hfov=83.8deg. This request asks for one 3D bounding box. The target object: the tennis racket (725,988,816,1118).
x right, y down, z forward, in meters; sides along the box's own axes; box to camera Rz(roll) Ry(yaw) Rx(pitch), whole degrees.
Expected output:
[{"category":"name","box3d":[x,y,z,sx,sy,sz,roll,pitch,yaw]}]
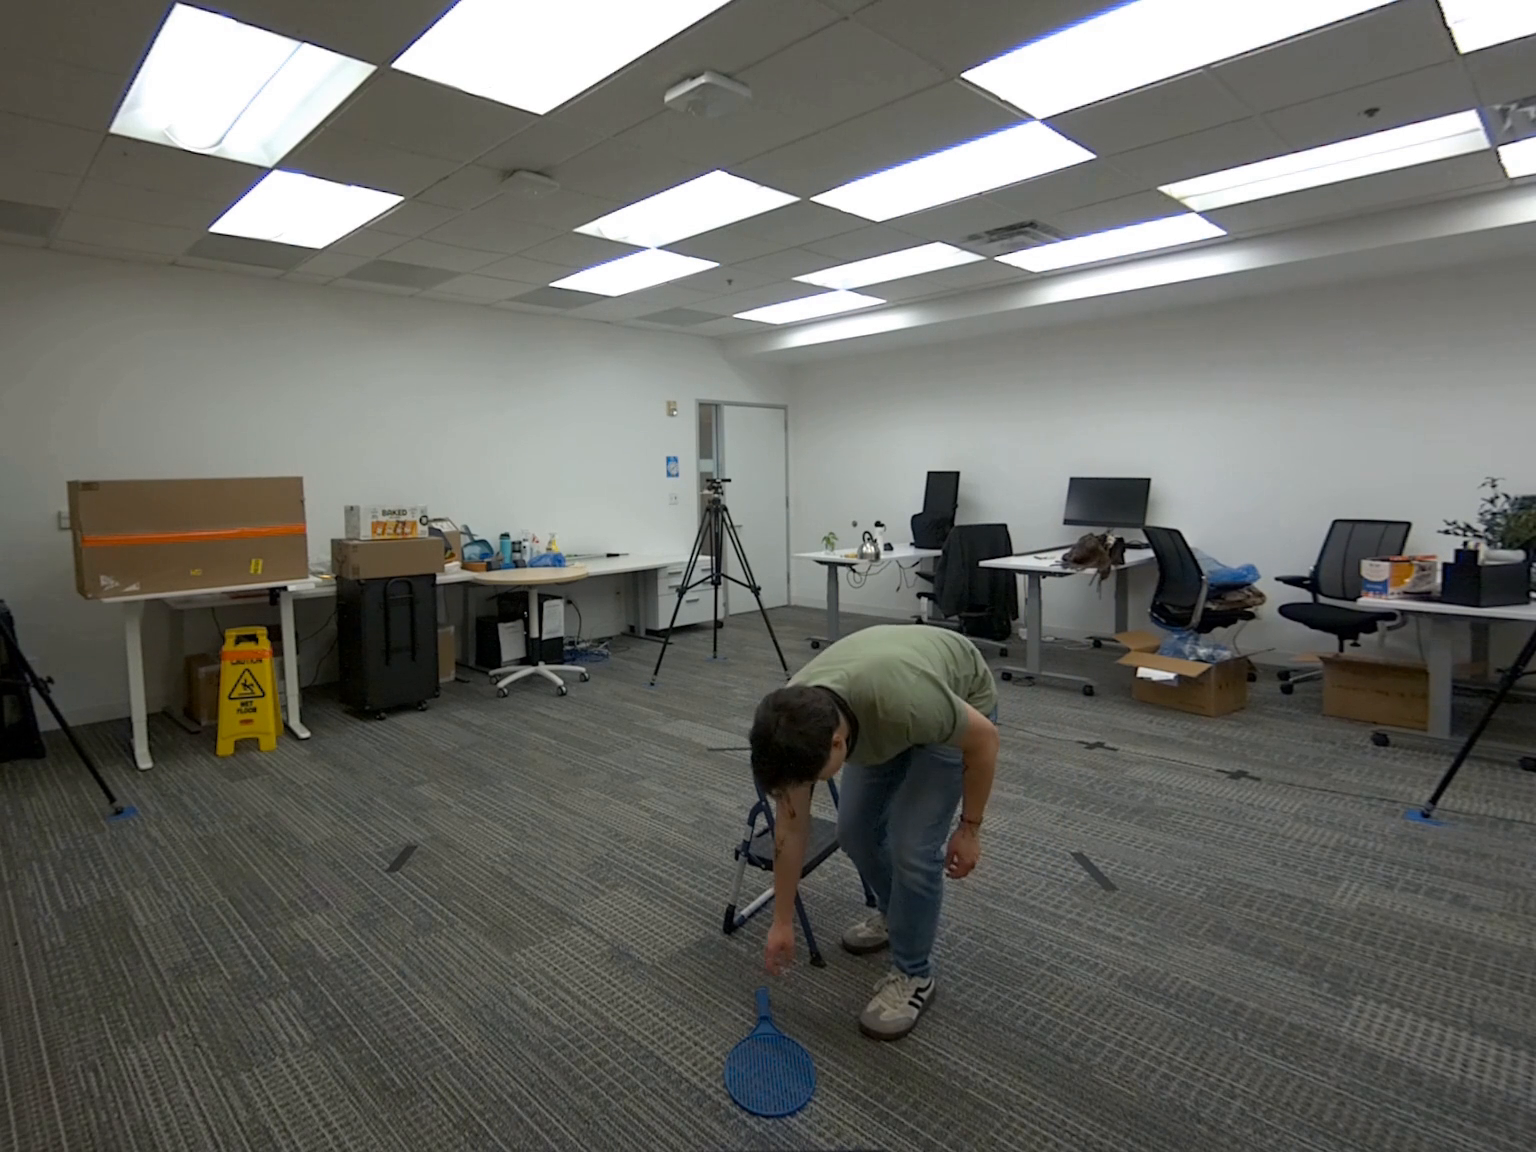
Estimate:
[{"category":"tennis racket","box3d":[0.008,1.159,2.081,0.214,0.031,0.435,-1,9,-1]}]
